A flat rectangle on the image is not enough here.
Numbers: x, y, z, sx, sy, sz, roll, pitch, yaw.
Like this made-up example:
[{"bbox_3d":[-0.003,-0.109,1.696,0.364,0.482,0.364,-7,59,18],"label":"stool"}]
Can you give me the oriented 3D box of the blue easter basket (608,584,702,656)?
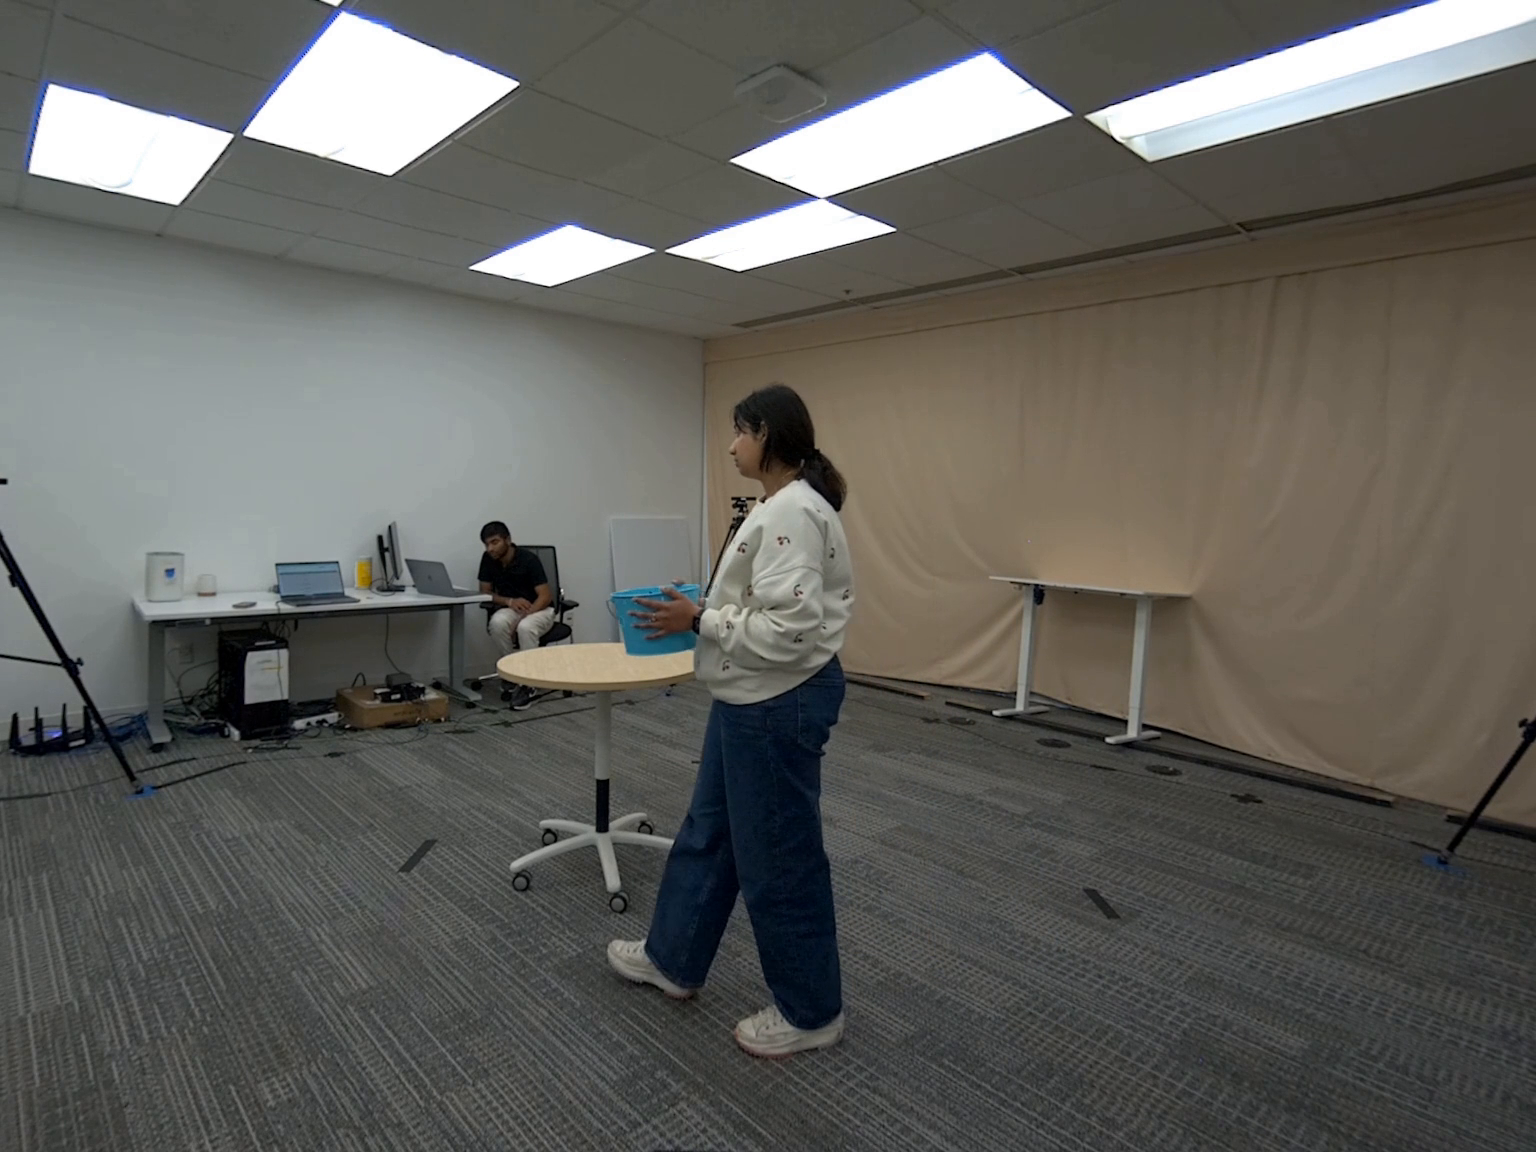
[{"bbox_3d":[-0.277,0.111,2.145,0.243,0.155,0.244,-3,5,-1],"label":"blue easter basket"}]
